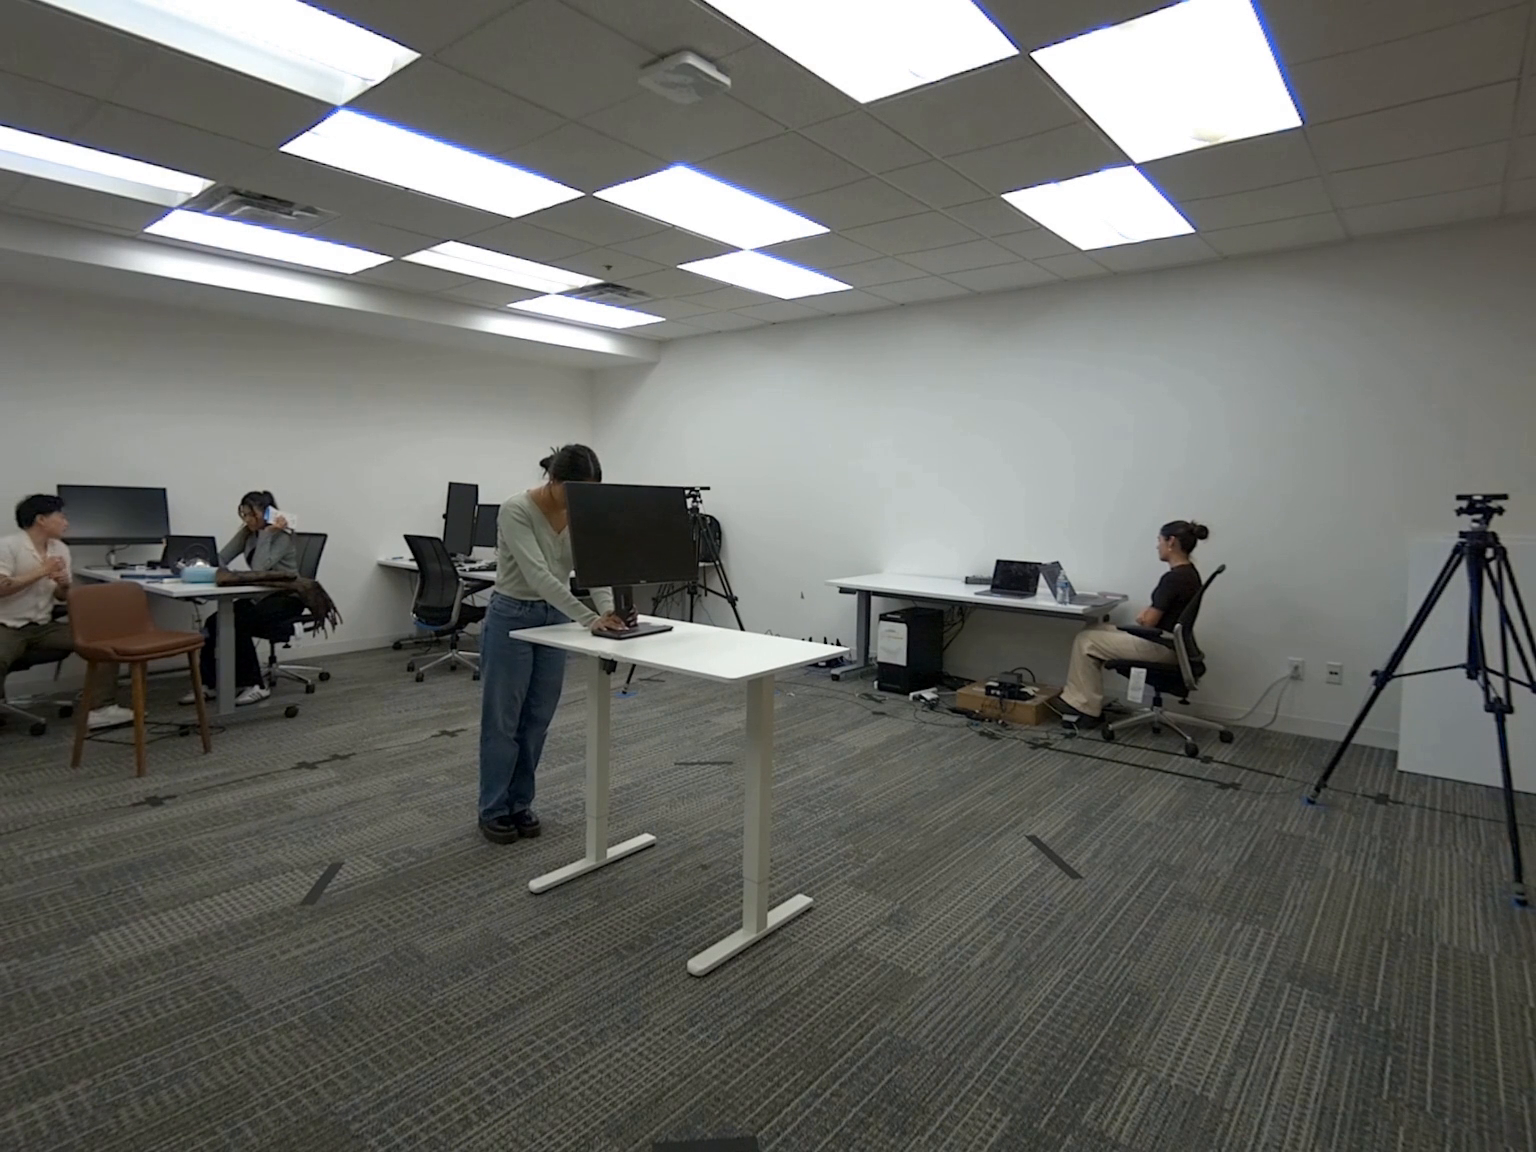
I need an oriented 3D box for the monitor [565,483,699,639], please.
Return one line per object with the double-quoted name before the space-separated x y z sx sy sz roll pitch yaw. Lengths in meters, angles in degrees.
"monitor" -0.488 -0.059 2.943 0.193 0.521 0.523 3 4 43
